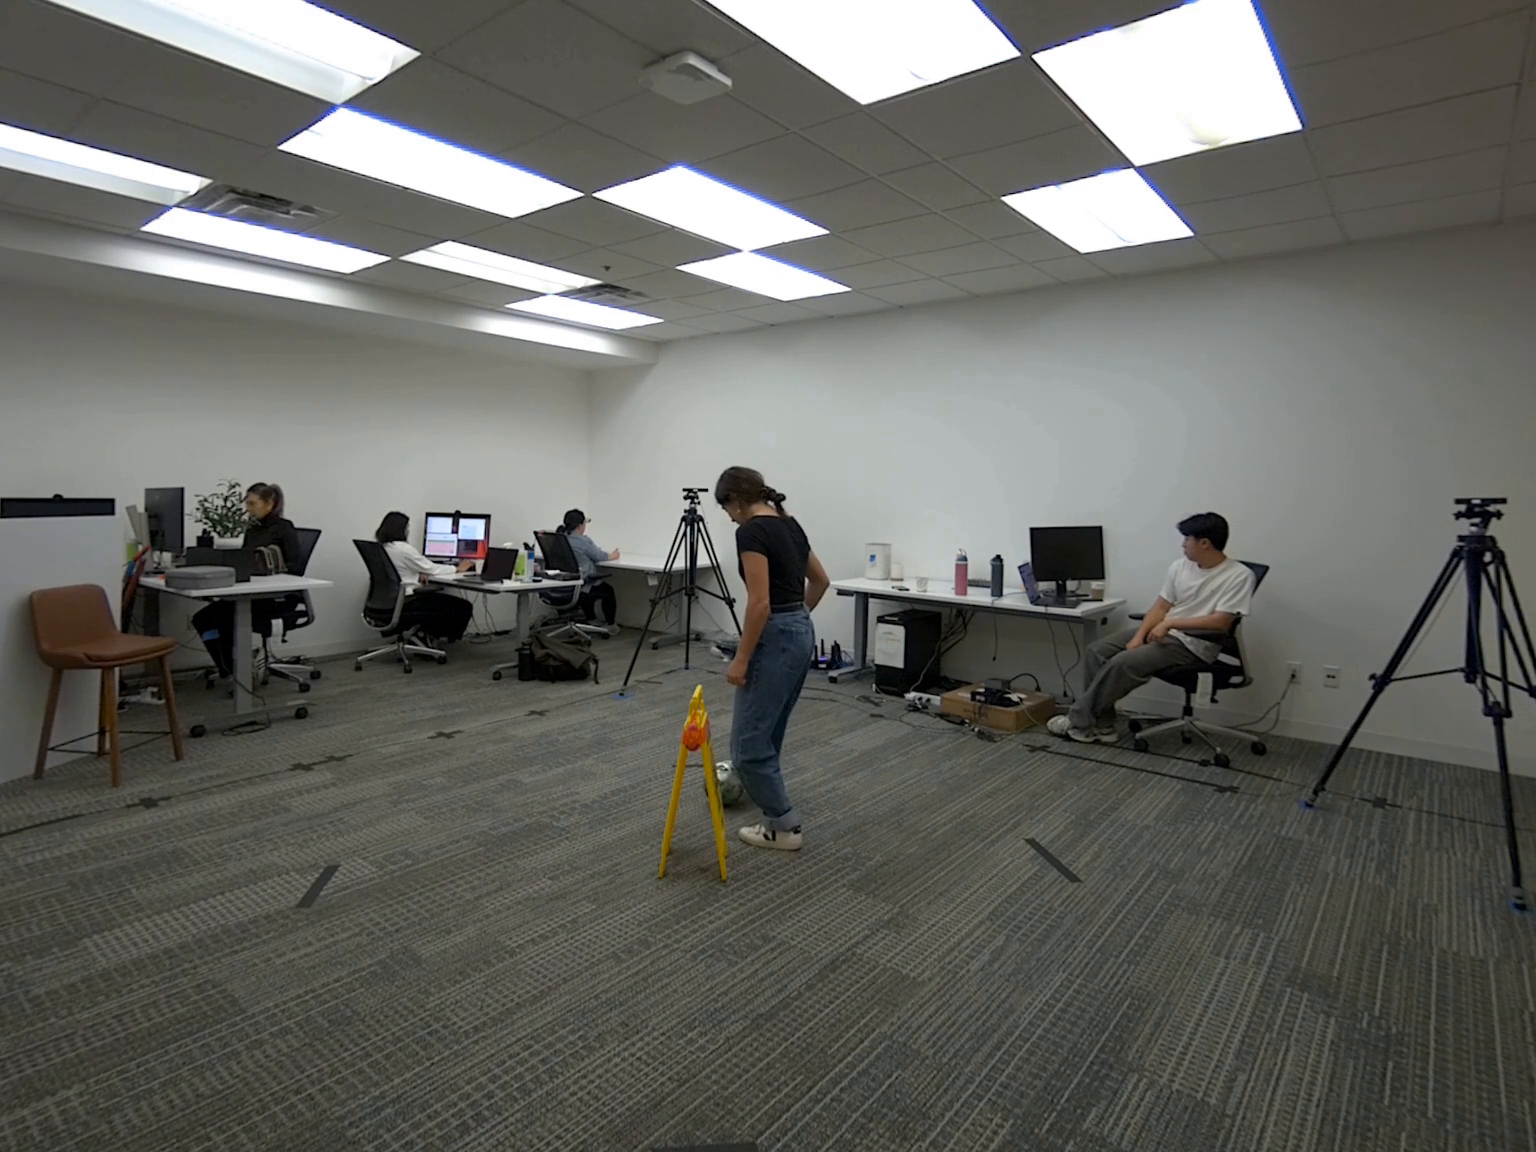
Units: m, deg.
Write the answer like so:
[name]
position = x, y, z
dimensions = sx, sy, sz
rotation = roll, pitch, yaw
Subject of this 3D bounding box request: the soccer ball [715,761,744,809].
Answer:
[soccer ball]
position = -0.192, 0.904, 3.740
dimensions = 0.187, 0.187, 0.188
rotation = 1, 4, -2
